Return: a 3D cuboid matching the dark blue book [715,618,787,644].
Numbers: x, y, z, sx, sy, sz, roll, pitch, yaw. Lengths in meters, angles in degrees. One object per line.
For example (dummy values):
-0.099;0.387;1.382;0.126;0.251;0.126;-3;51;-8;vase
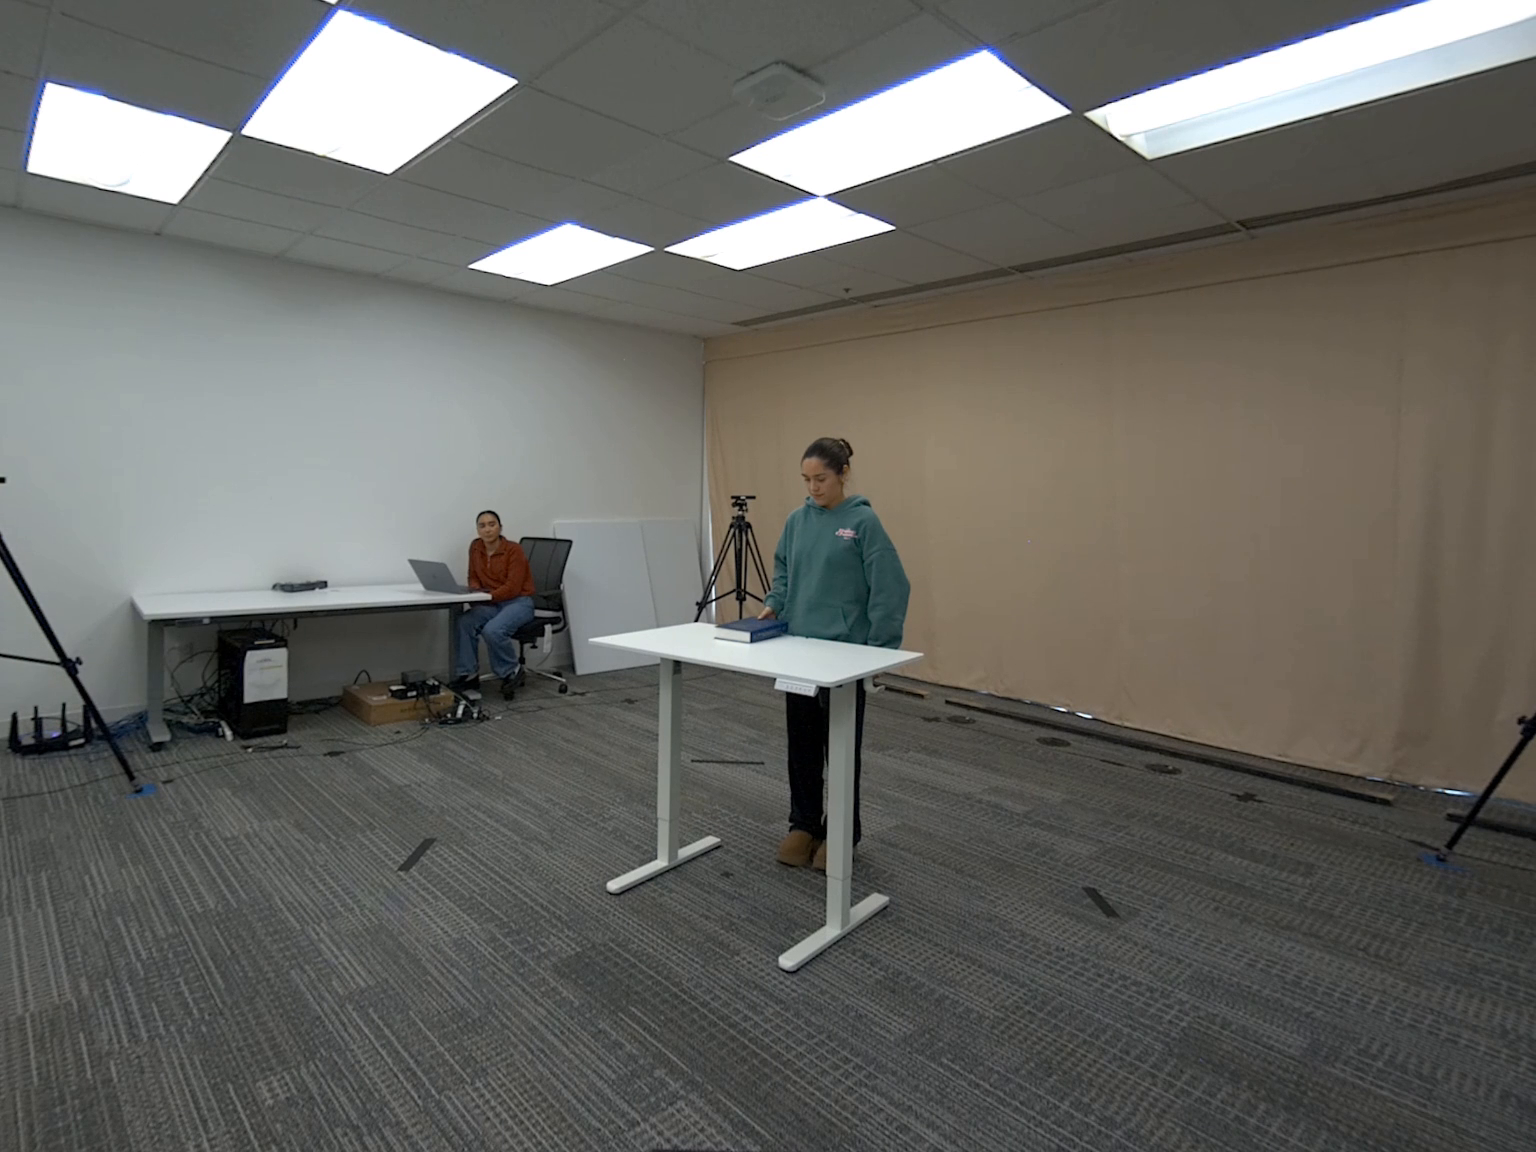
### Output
-0.077;0.201;3.086;0.167;0.045;0.240;6;9;33;dark blue book
